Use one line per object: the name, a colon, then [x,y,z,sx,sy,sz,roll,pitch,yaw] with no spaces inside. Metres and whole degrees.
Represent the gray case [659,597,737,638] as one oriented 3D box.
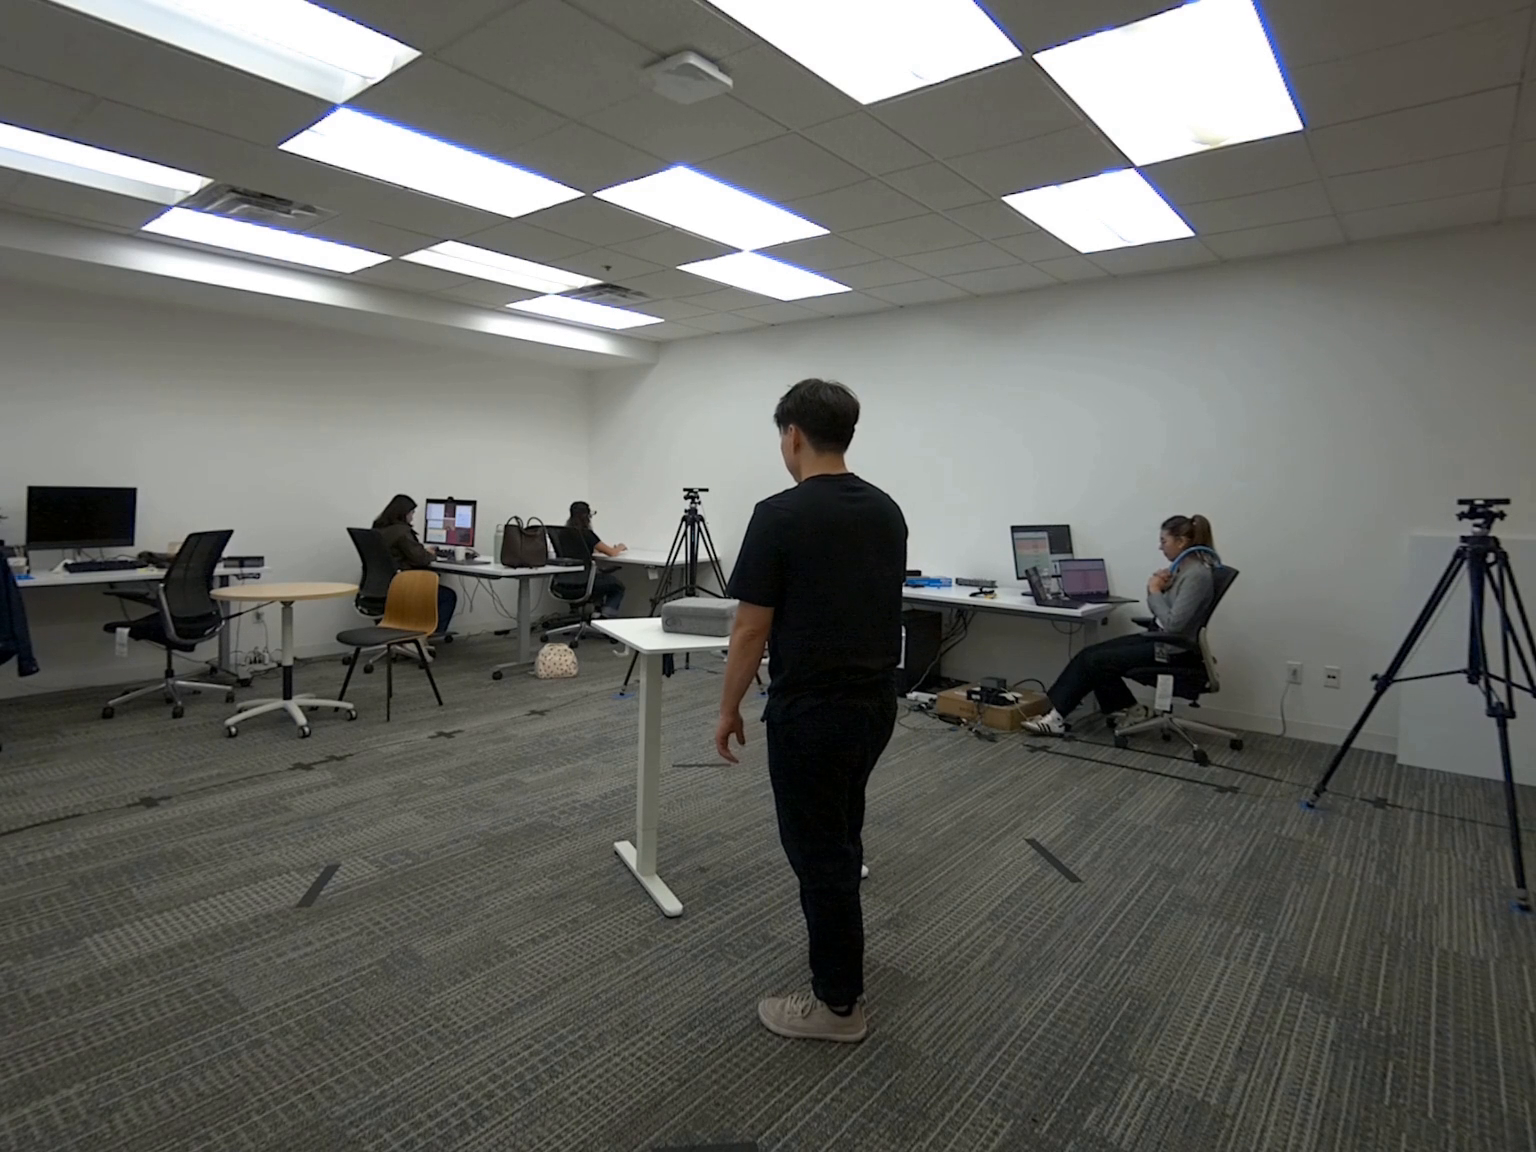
gray case: [-0.243,0.139,3.047,0.266,0.104,0.253,3,6,17]
